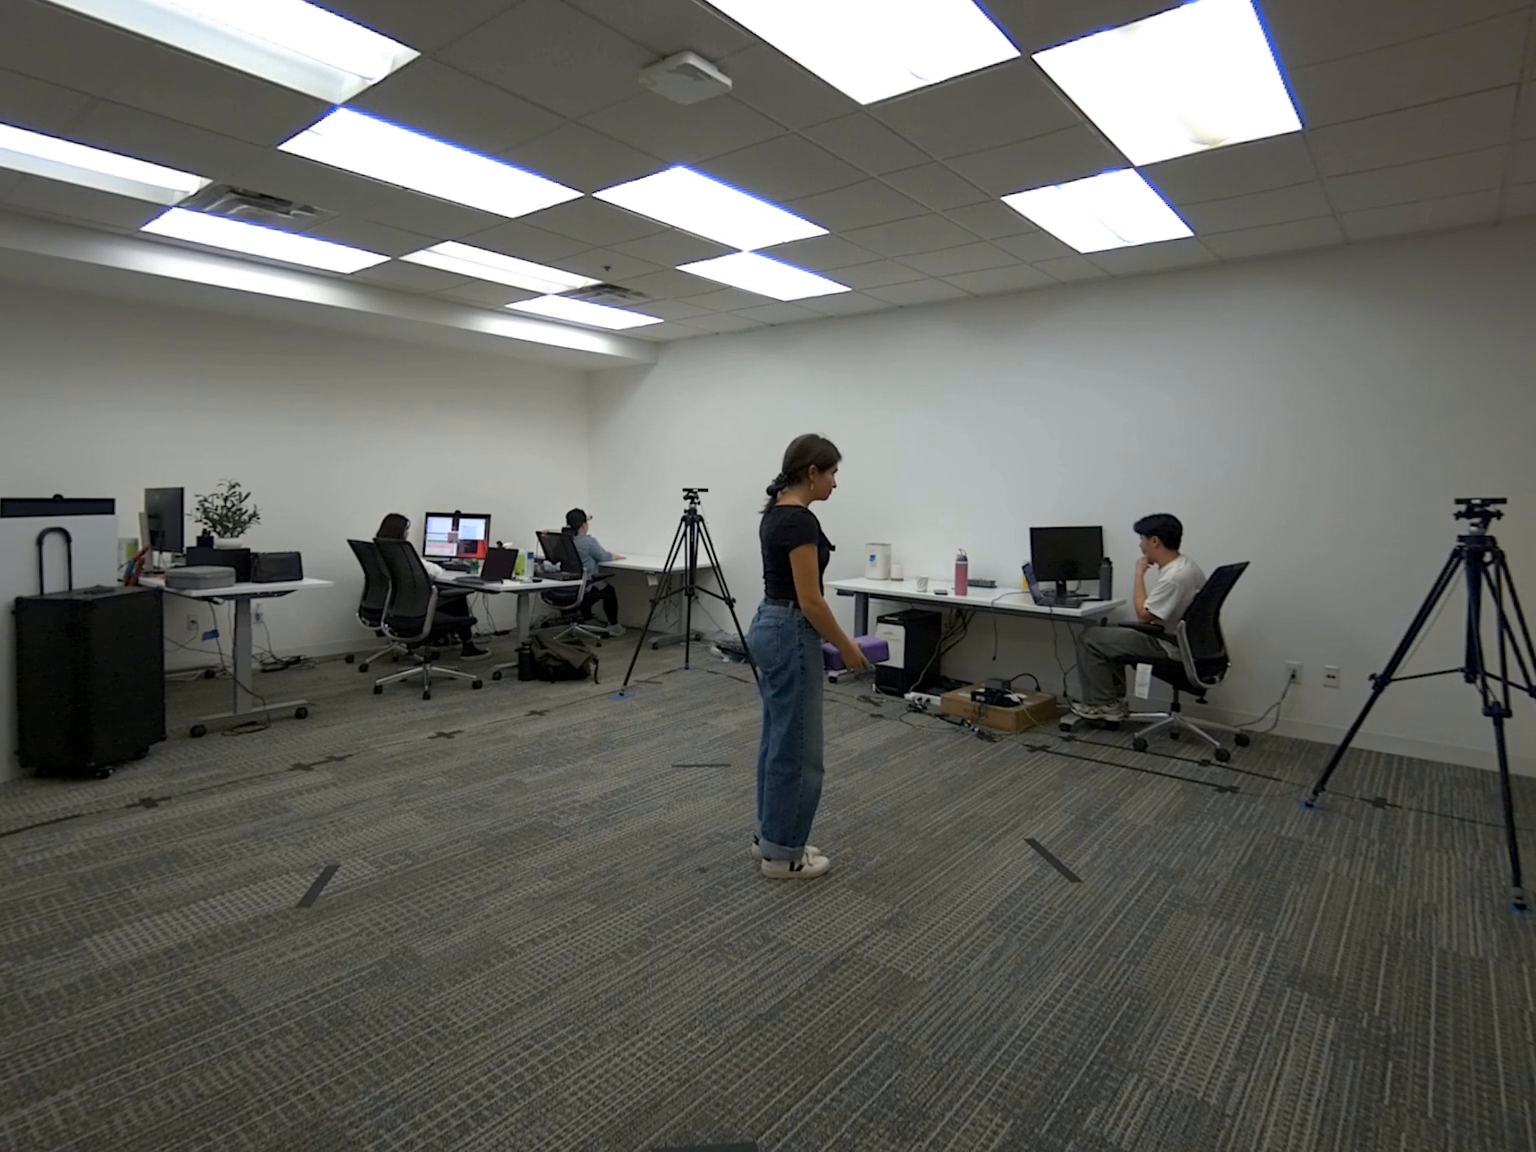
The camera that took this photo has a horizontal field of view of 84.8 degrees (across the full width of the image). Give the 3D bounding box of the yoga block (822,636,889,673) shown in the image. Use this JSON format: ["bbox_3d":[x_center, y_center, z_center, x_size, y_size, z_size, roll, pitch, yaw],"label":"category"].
[{"bbox_3d":[0.304,0.281,3.159,0.229,0.076,0.150,-7,8,-2],"label":"yoga block"}]
